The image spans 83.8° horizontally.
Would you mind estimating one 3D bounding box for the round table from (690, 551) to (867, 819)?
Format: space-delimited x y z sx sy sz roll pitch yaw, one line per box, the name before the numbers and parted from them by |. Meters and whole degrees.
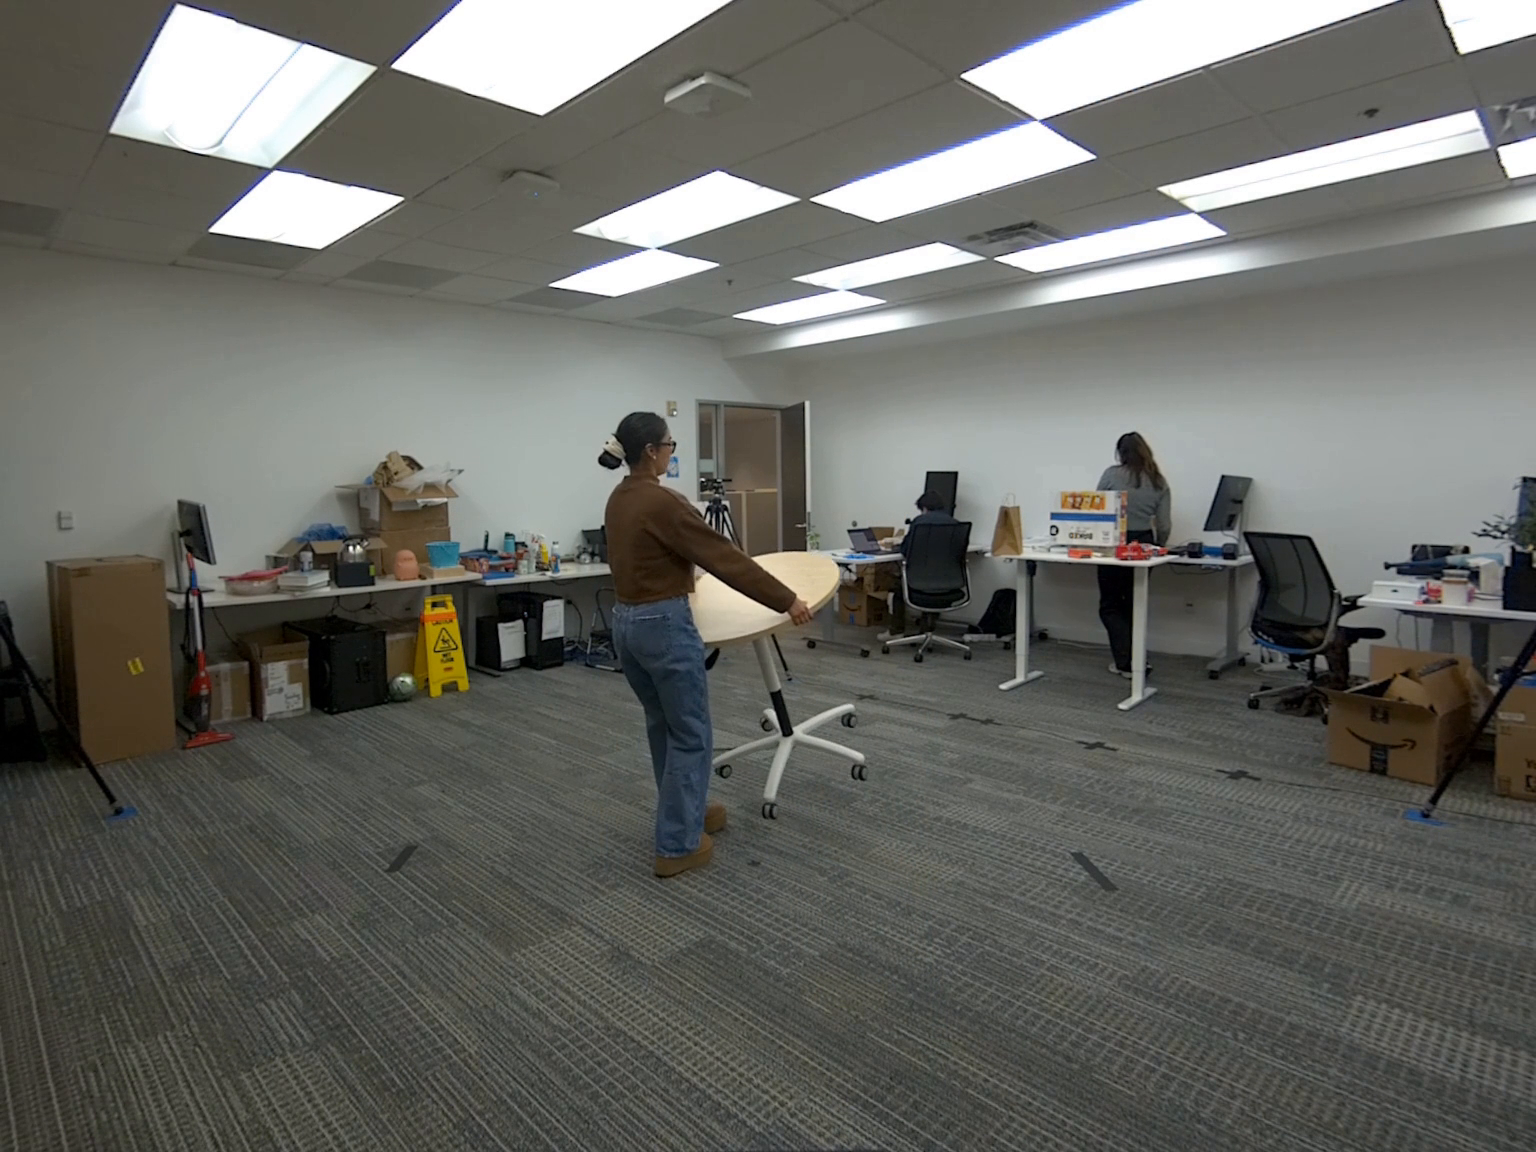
round table | 0.020 0.420 3.515 0.787 0.770 0.799 -15 20 4
